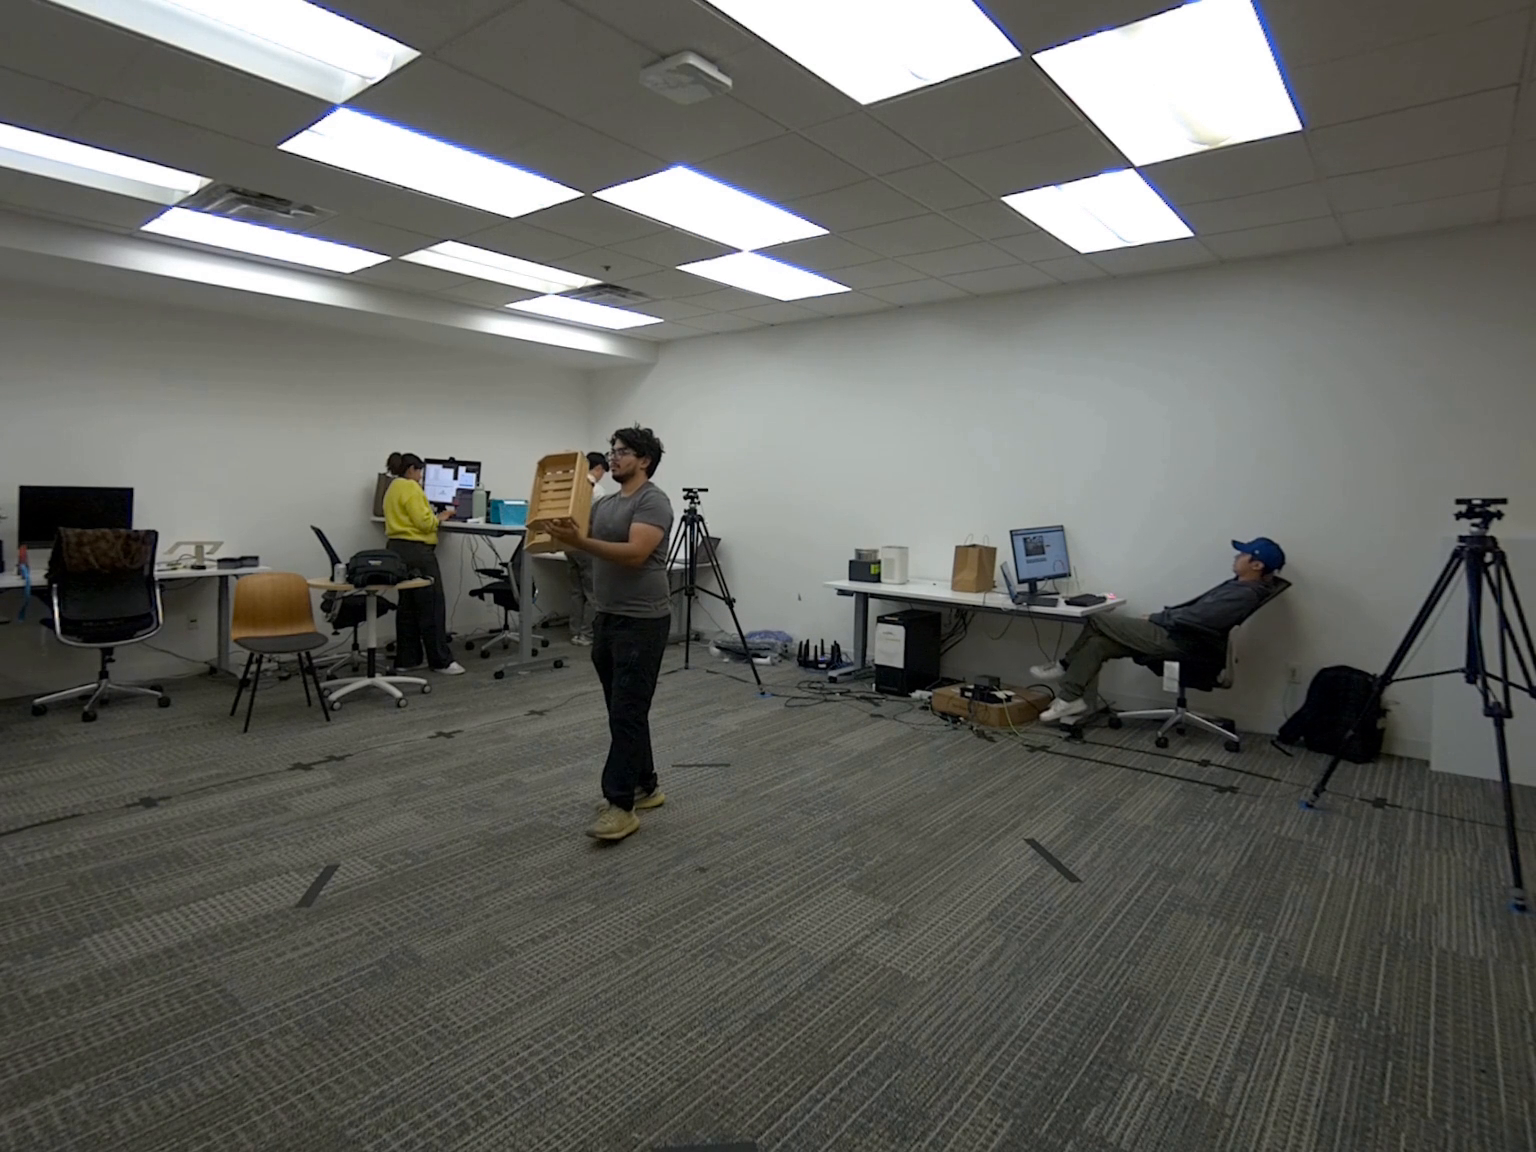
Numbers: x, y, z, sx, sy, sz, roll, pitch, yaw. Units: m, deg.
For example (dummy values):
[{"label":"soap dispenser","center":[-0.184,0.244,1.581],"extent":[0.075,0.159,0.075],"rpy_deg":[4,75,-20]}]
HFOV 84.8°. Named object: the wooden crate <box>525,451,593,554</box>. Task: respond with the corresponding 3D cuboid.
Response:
[{"label":"wooden crate","center":[-0.871,-0.295,3.394],"extent":[0.306,0.332,0.263],"rpy_deg":[-7,-29,12]}]
